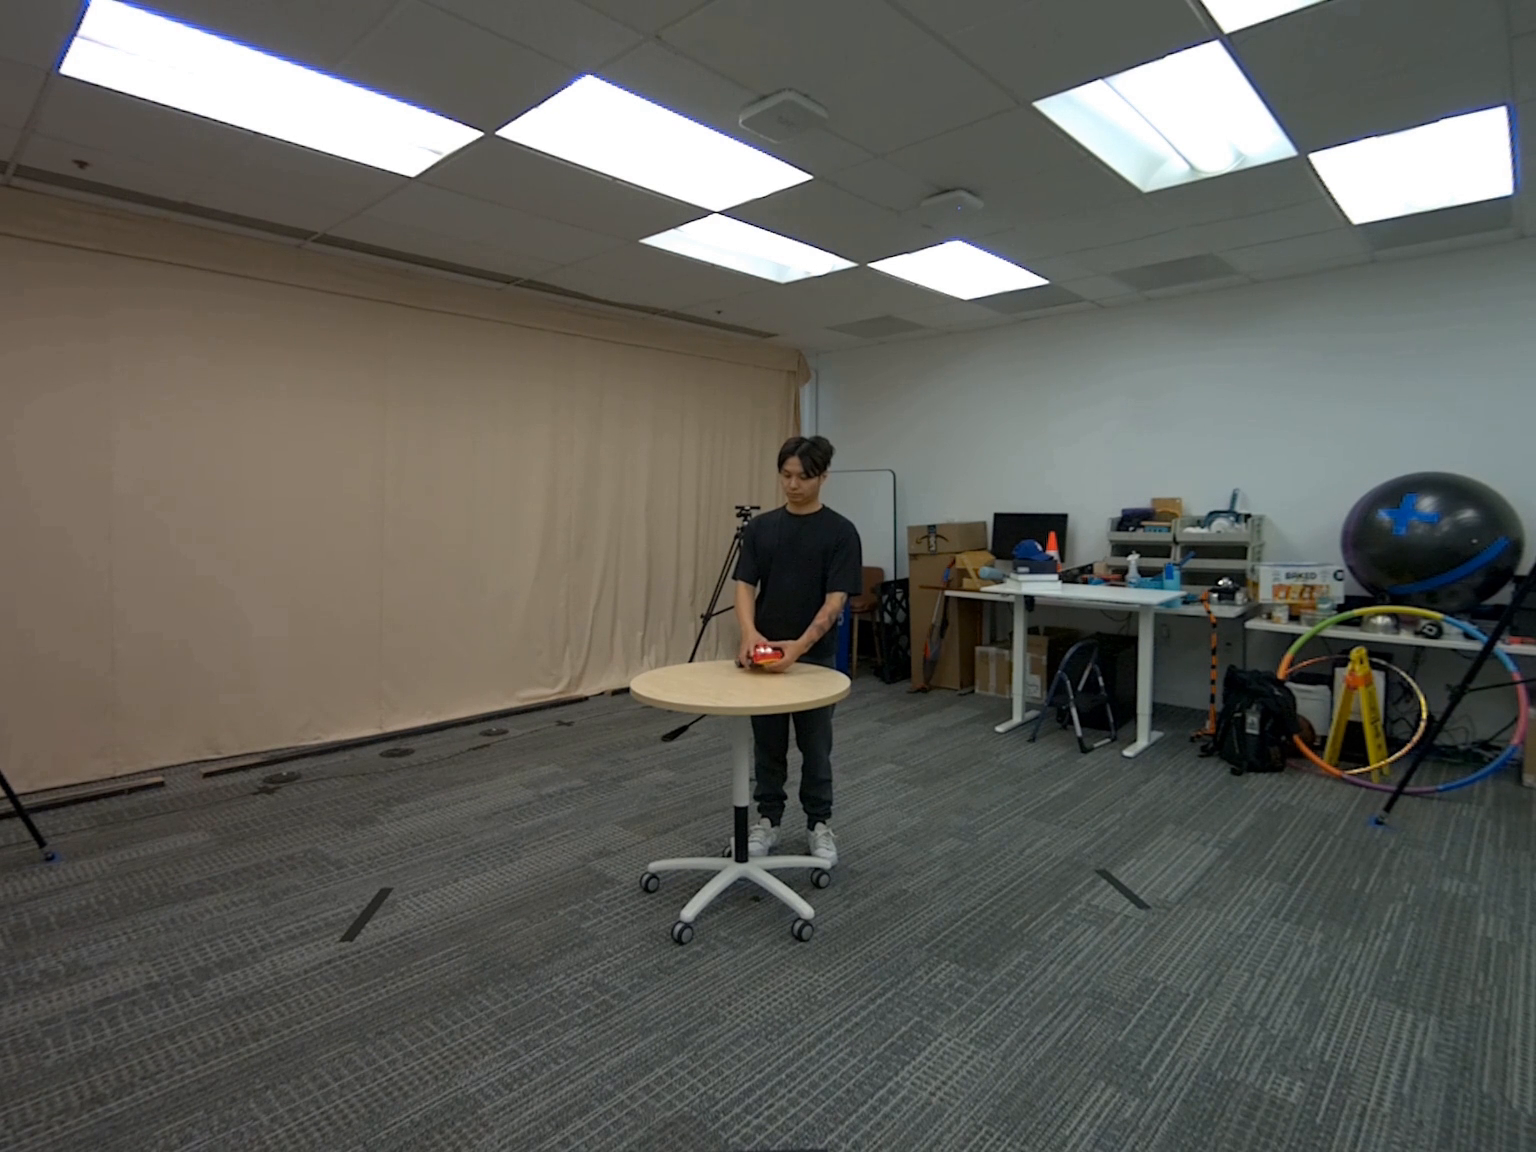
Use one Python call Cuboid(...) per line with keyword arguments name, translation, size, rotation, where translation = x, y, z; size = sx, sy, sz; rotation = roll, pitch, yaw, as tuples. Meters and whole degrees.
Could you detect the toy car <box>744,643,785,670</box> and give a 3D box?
Cuboid(name="toy car", translation=(-0.039, 0.303, 3.102), size=(0.128, 0.084, 0.255), rotation=(-6, -13, -15))
